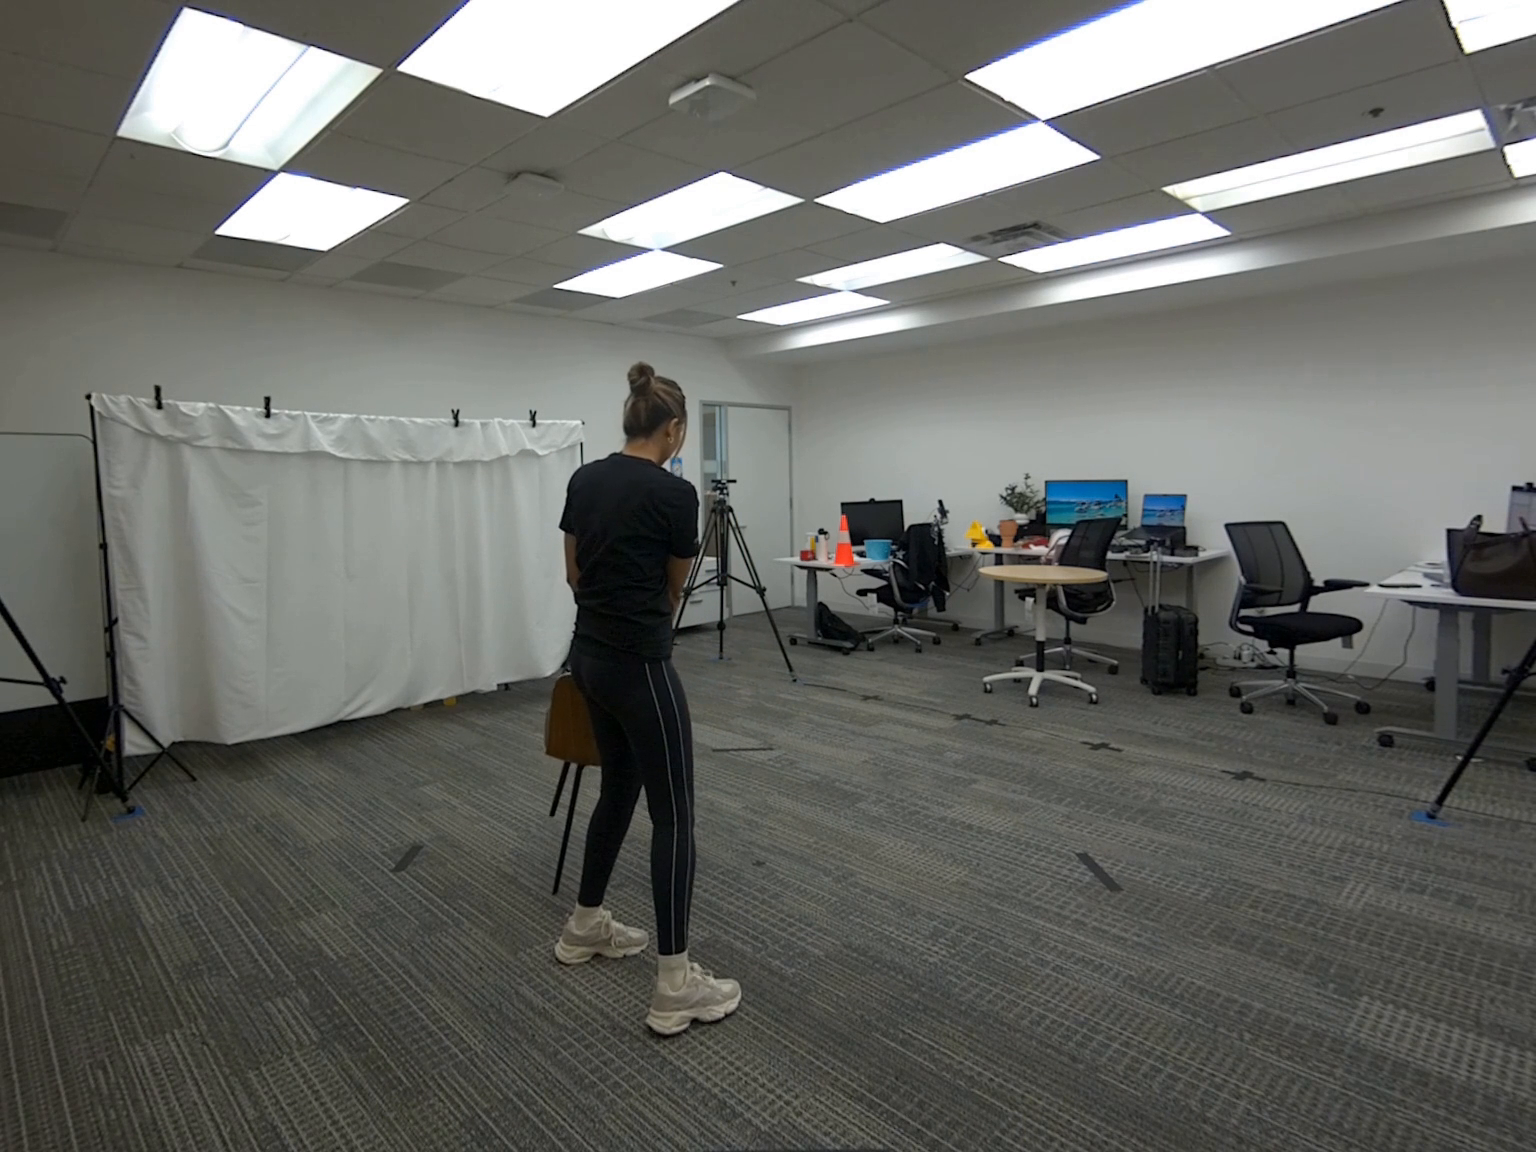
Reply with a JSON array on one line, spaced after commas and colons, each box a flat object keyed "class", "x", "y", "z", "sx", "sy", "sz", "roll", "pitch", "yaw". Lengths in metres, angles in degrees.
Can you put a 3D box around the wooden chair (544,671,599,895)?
[{"class": "wooden chair", "x": -0.549, "y": 0.597, "z": 3.034, "sx": 0.472, "sy": 0.862, "sz": 0.539, "roll": -2, "pitch": 22, "yaw": -14}]
